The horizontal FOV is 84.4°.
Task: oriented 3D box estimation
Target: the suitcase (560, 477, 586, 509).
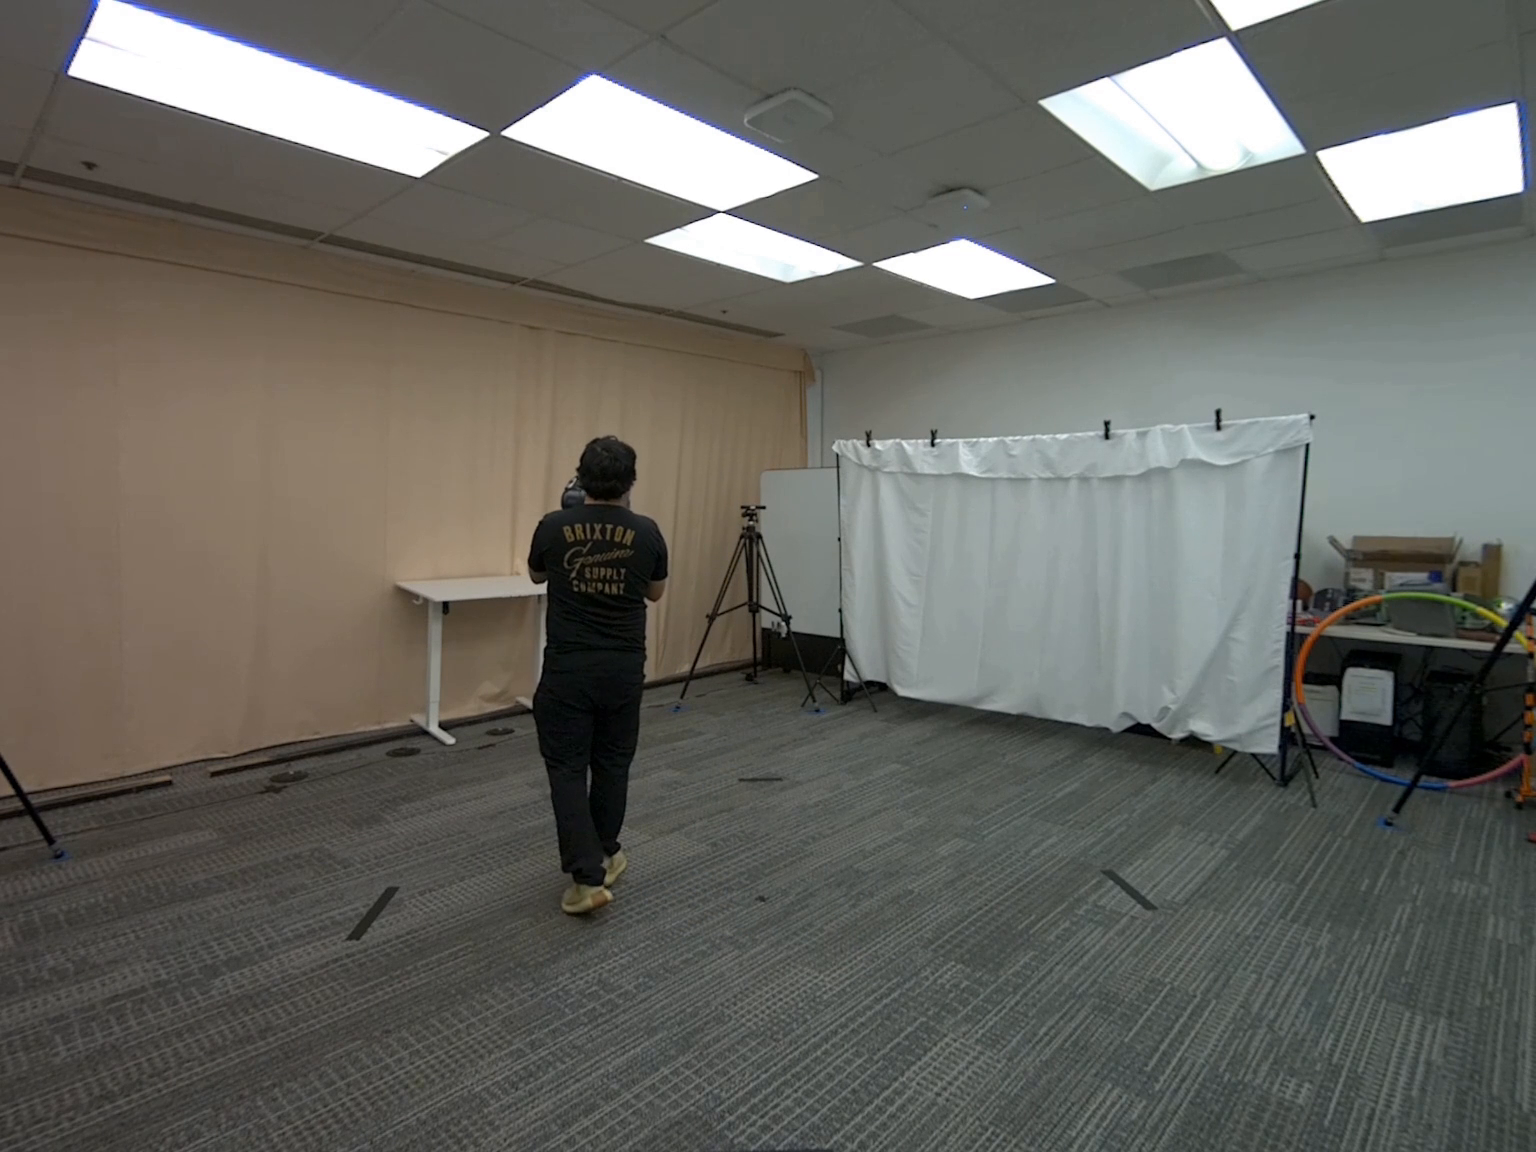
[{"bbox_3d":[-0.693,-0.132,3.403,0.248,0.544,0.380,3,18,-3],"label":"suitcase"}]
